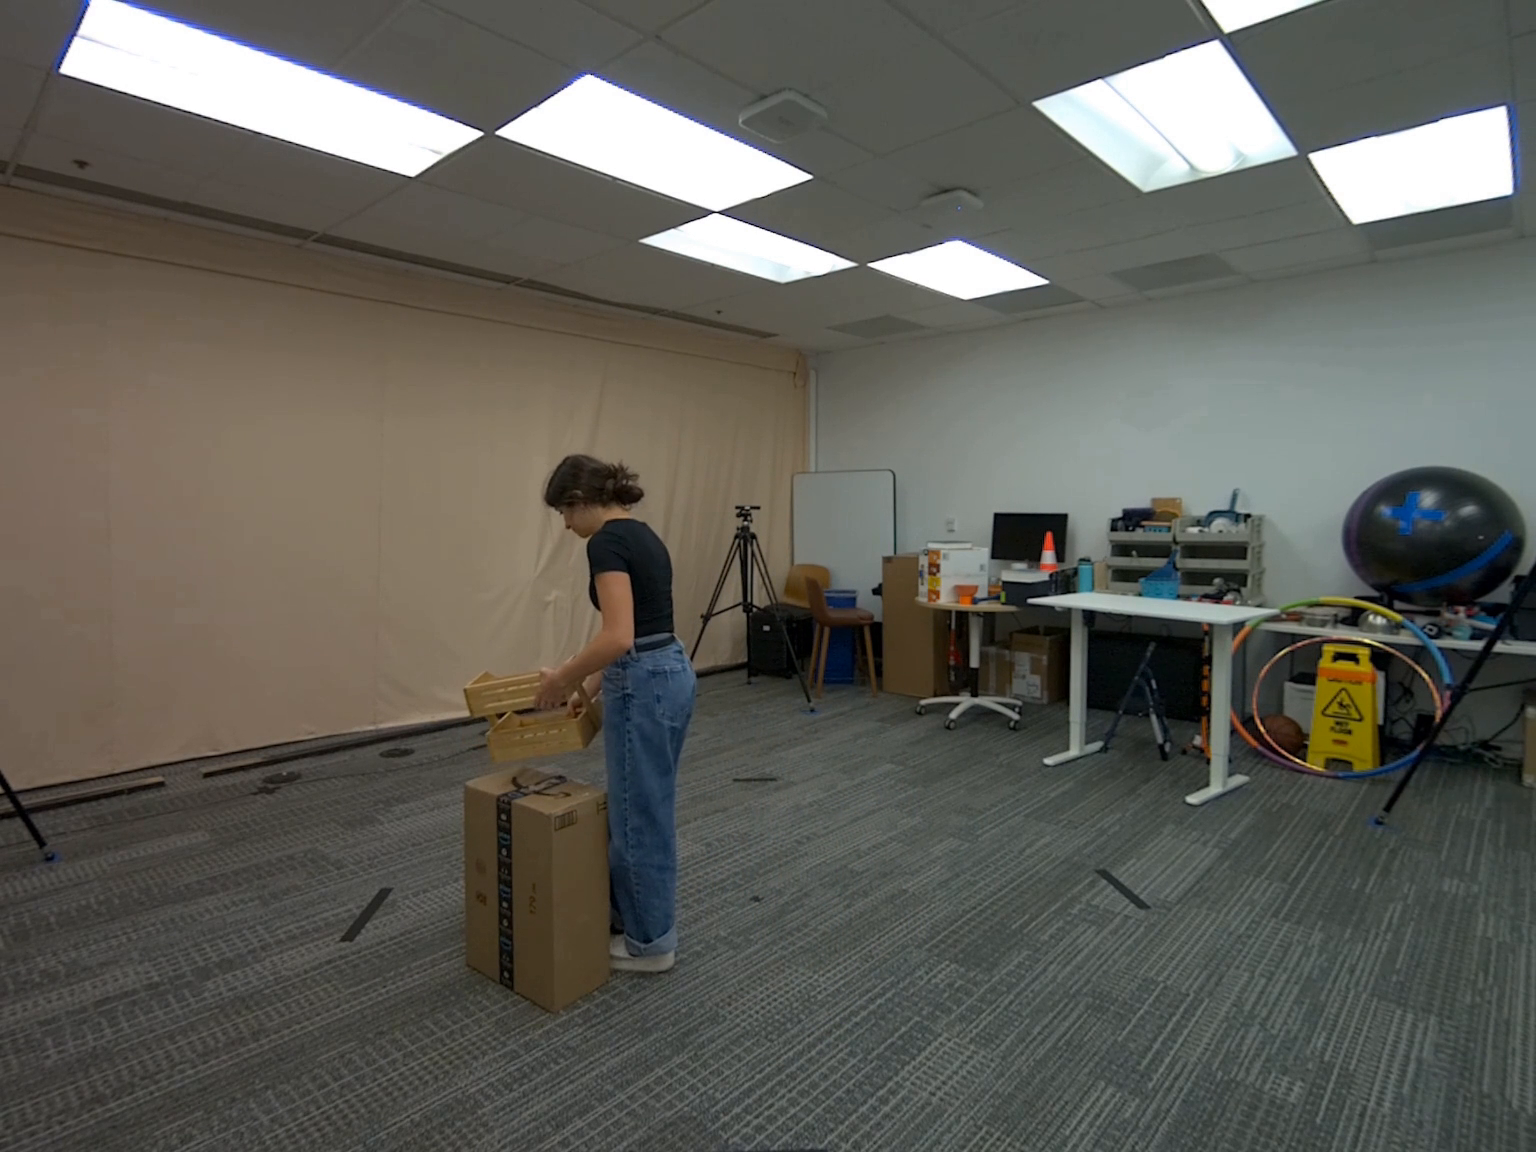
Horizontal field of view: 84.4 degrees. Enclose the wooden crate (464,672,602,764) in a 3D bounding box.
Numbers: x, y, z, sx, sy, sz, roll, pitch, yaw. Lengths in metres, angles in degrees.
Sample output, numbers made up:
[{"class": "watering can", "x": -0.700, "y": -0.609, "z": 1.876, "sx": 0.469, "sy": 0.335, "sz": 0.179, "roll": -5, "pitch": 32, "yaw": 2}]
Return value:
[{"class": "wooden crate", "x": -0.699, "y": 0.391, "z": 2.583, "sx": 0.327, "sy": 0.271, "sz": 0.302, "roll": -10, "pitch": 11, "yaw": 9}]
